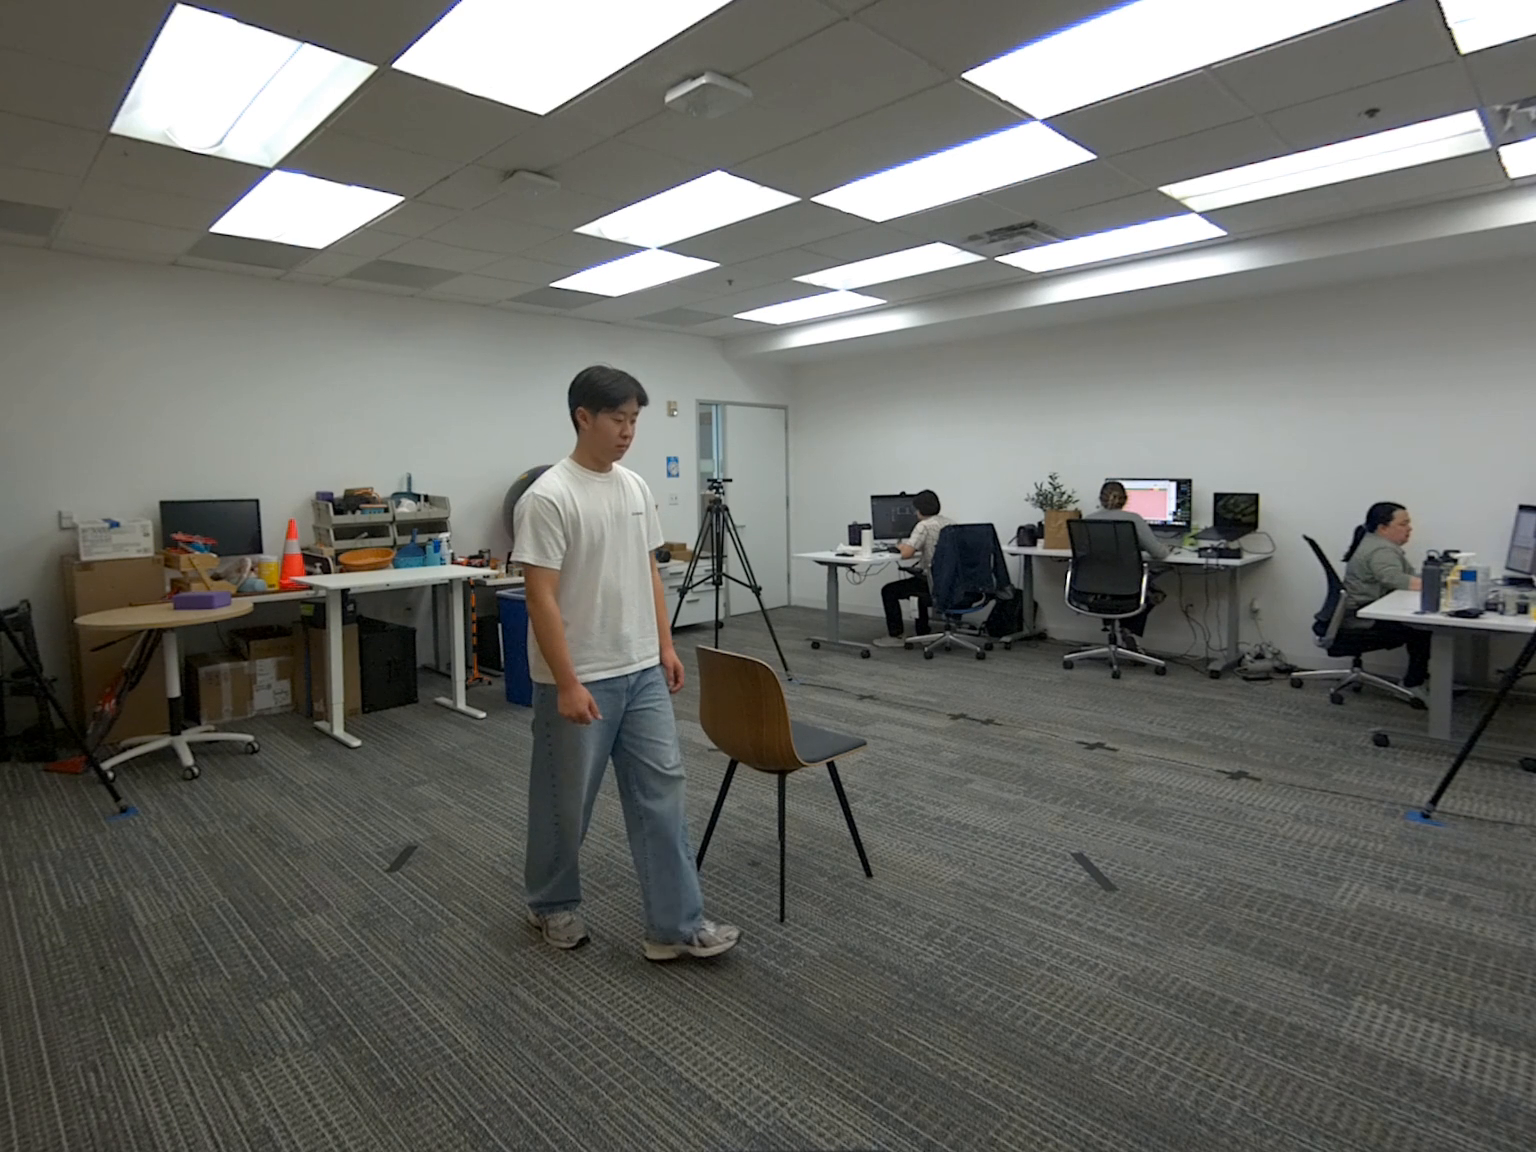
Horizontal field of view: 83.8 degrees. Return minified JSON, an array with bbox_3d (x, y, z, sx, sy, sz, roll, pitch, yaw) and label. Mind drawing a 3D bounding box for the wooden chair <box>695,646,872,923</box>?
[{"bbox_3d":[0.049,0.633,2.974,0.511,0.871,0.493,-10,10,-43],"label":"wooden chair"}]
